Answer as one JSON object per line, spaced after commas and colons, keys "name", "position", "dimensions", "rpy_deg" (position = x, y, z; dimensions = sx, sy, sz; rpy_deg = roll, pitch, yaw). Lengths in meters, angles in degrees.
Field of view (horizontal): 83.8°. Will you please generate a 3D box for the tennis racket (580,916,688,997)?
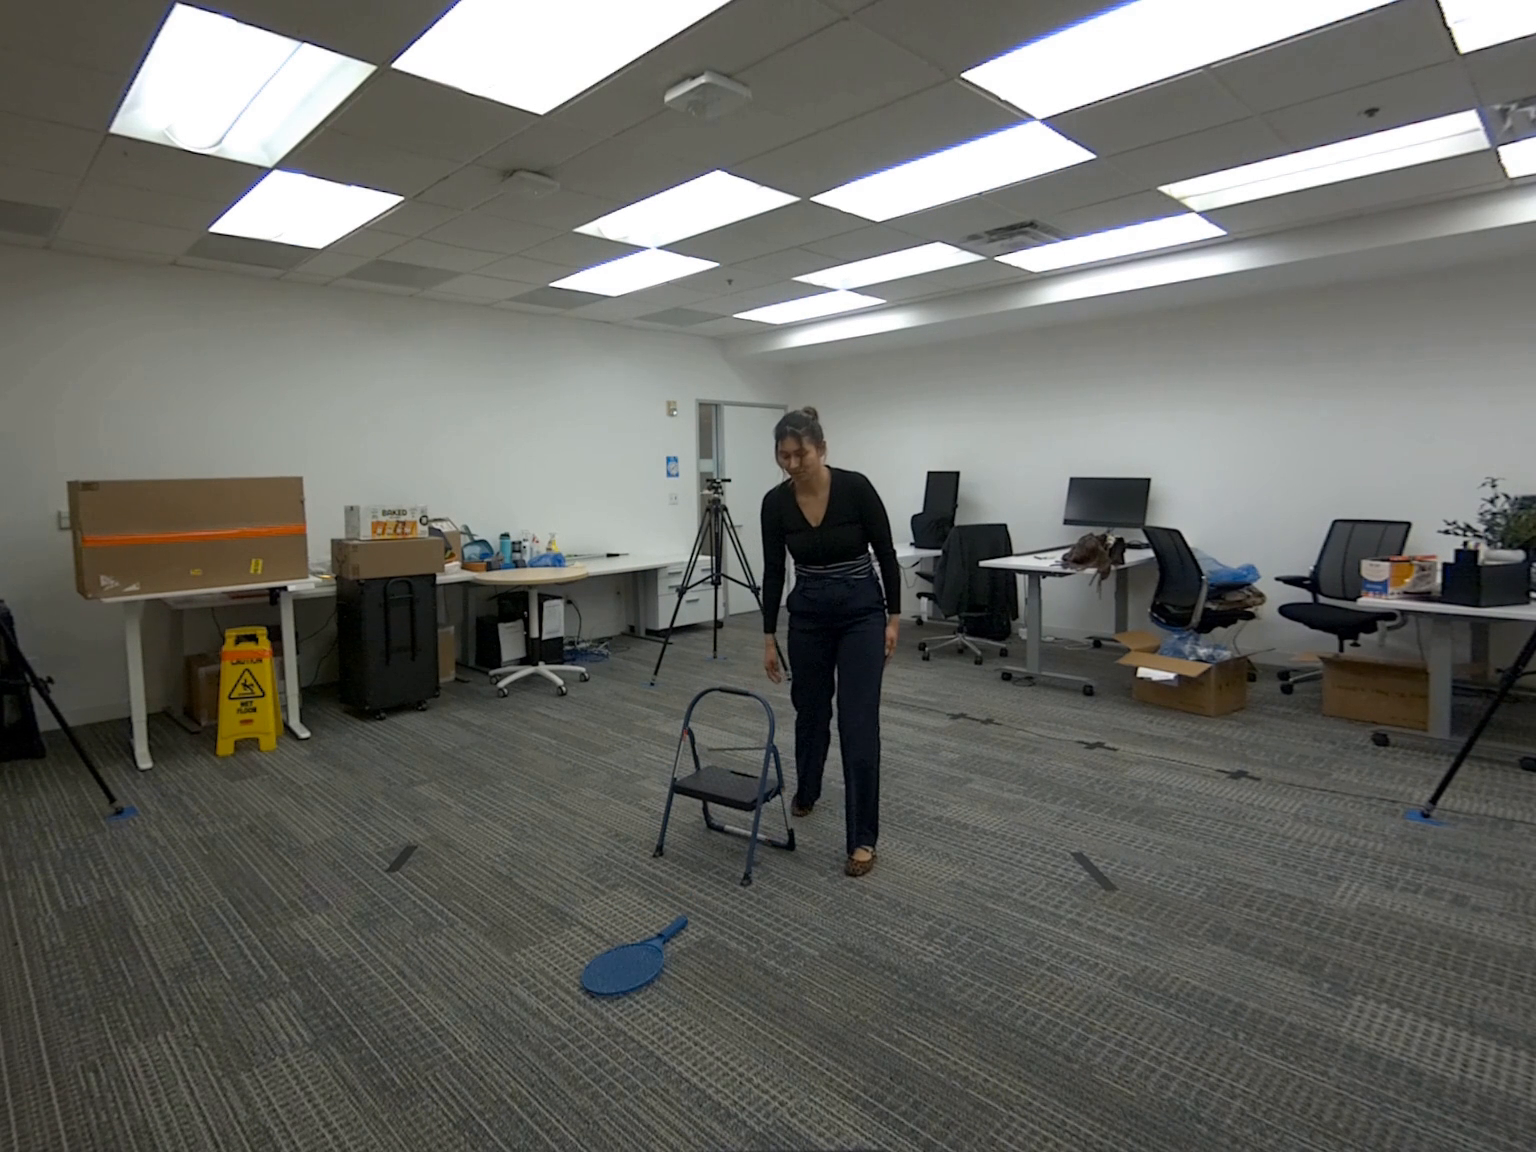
{"name": "tennis racket", "position": [-0.368, 1.102, 2.510], "dimensions": [0.219, 0.031, 0.424], "rpy_deg": [0, 7, 28]}
